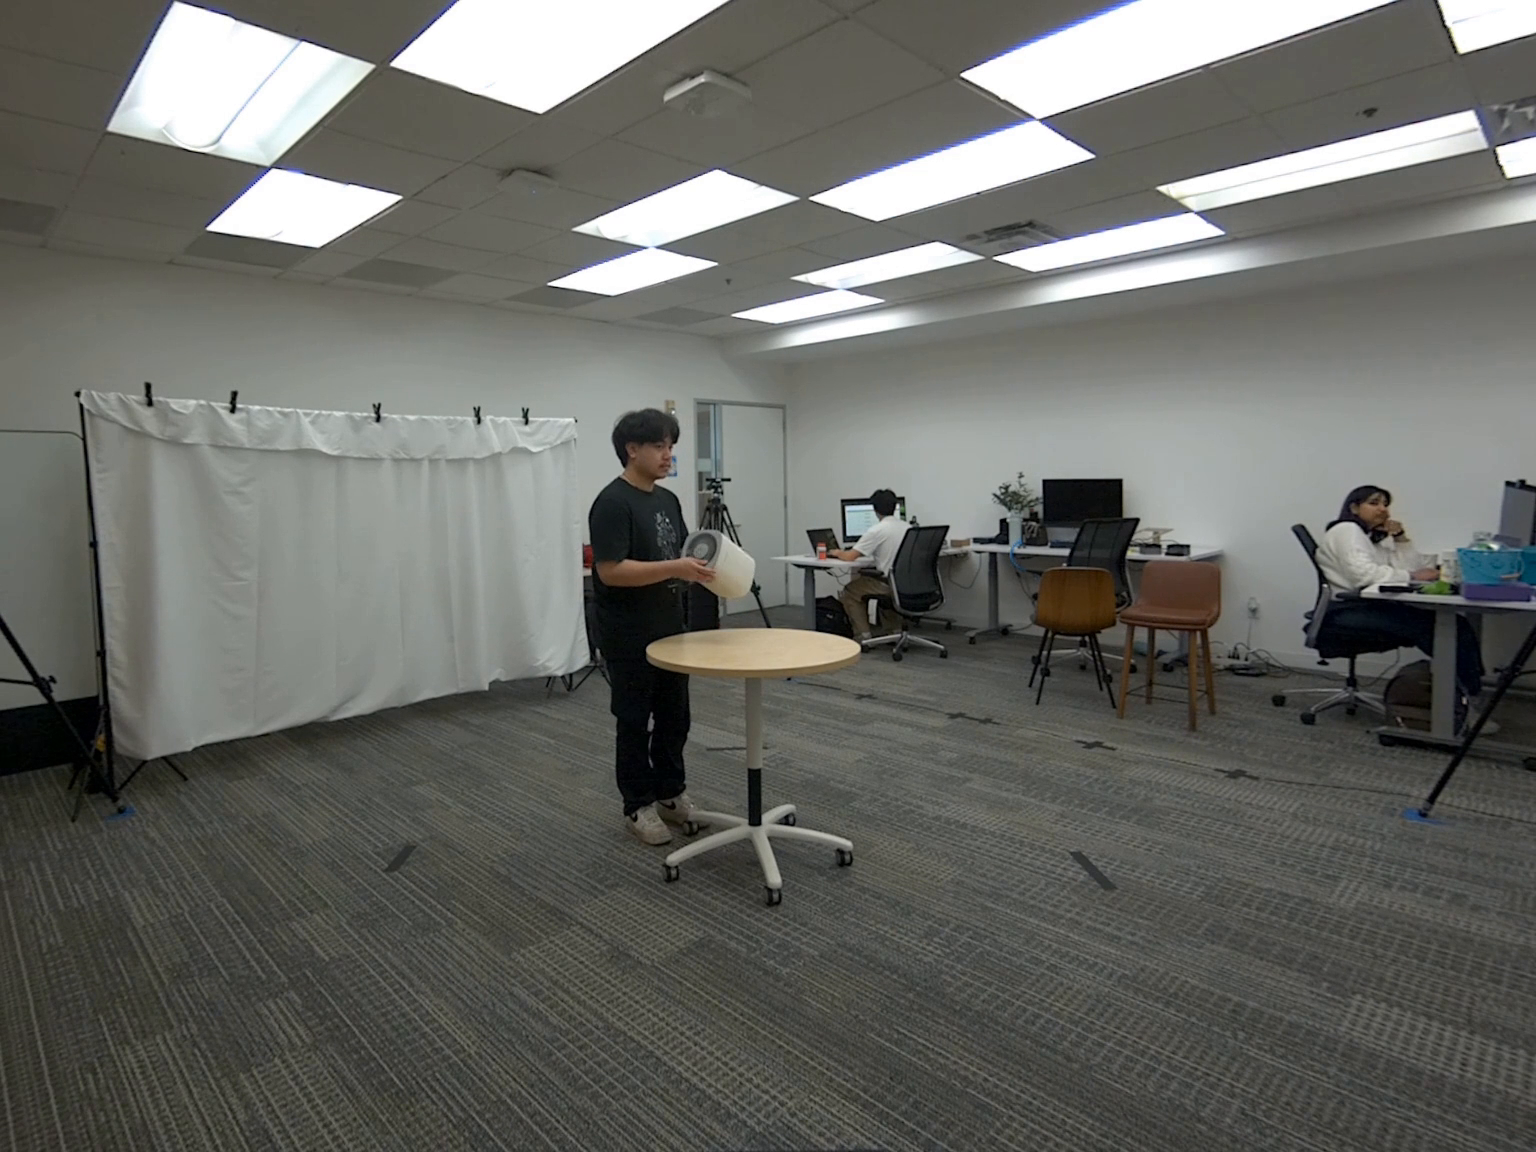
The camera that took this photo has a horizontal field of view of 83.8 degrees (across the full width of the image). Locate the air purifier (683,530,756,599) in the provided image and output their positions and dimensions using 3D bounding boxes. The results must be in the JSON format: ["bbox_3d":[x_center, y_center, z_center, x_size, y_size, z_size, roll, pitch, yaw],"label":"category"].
[{"bbox_3d":[-0.182,-0.045,3.216,0.176,0.173,0.255,-1,-24,32],"label":"air purifier"}]
